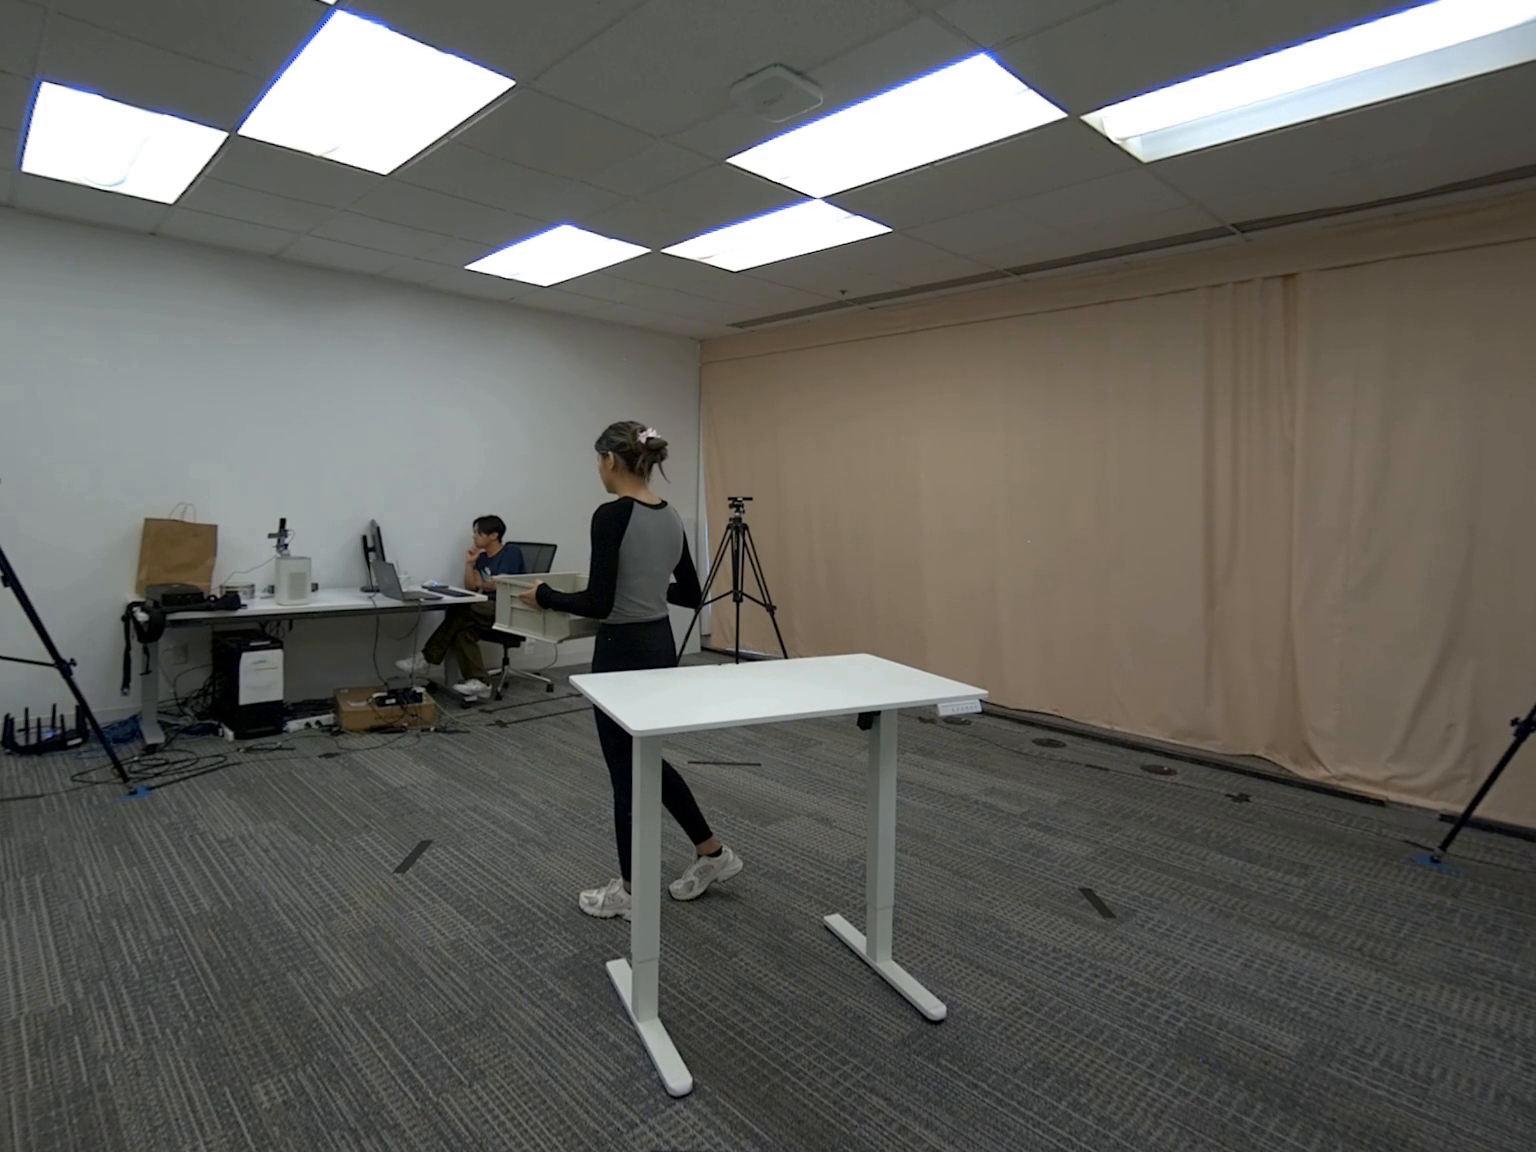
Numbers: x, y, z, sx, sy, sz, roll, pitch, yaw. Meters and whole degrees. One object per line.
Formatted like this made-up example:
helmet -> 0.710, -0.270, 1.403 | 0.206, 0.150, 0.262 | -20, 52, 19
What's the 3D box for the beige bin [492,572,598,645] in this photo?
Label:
beige bin -> -0.685, 0.106, 2.956 | 0.386, 0.188, 0.413 | 6, 6, 33
